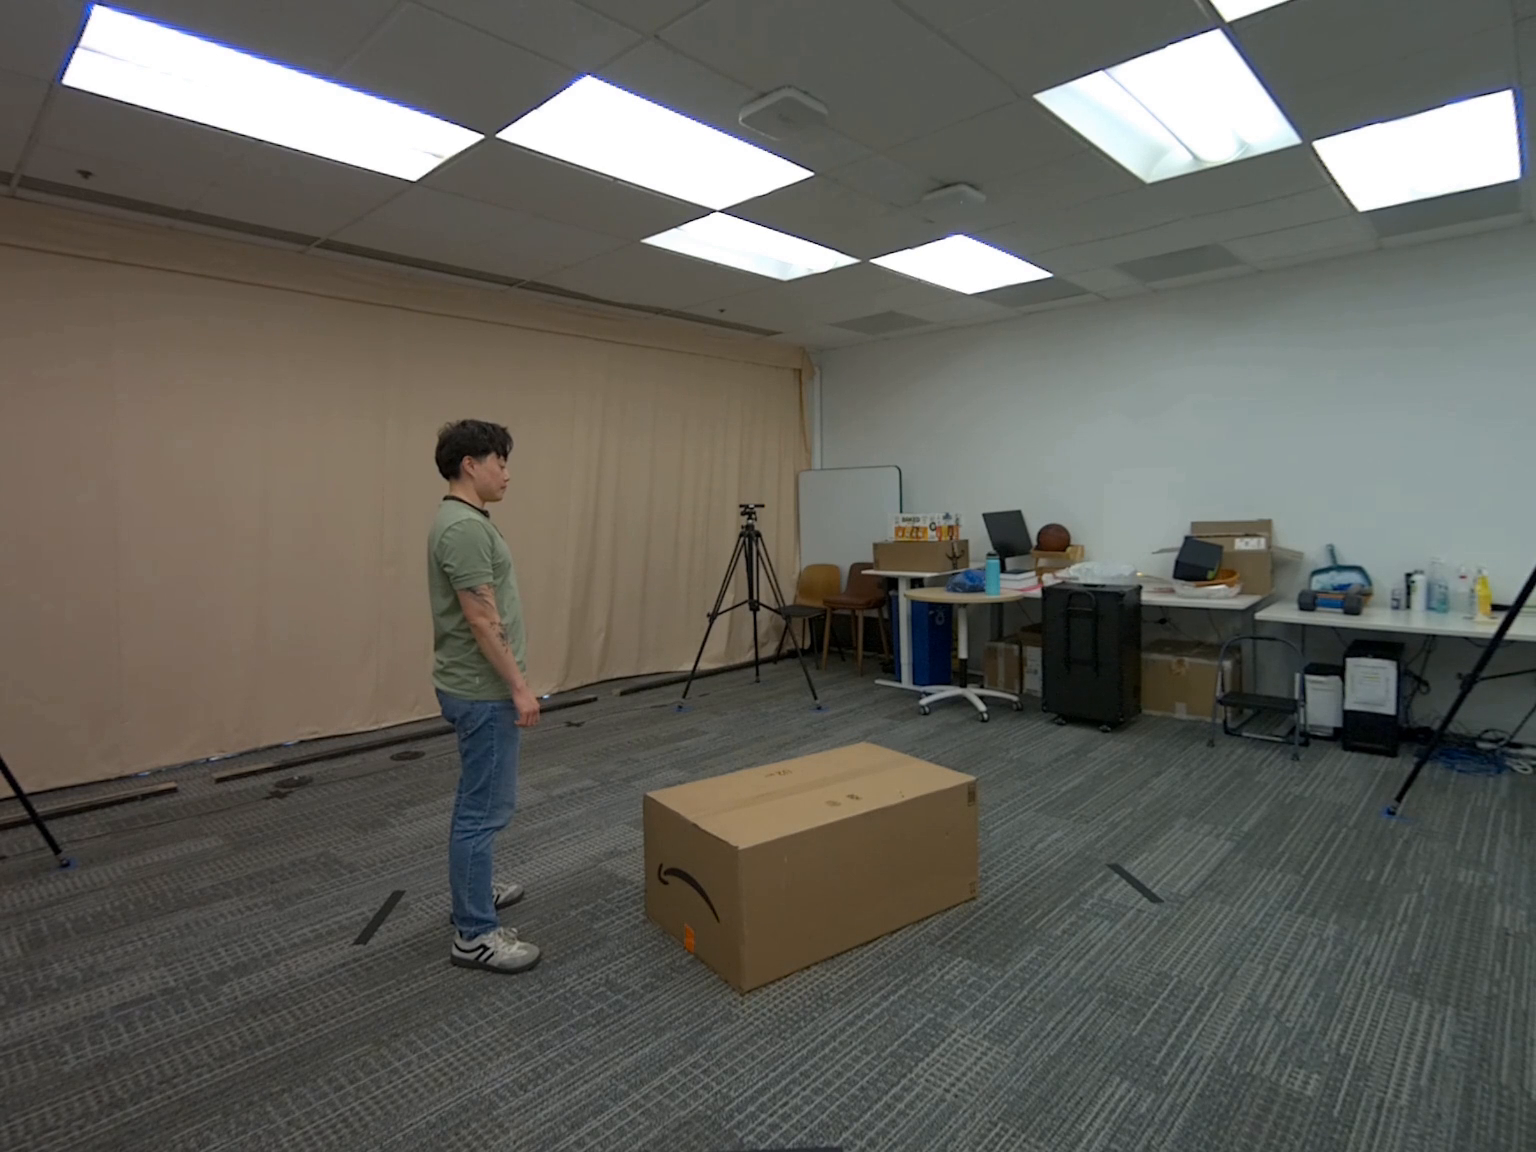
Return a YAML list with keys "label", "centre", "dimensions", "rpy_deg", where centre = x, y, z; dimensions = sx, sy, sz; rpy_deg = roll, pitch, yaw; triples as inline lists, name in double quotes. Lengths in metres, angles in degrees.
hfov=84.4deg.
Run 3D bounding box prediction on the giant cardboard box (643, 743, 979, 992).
- label: "giant cardboard box"
  centre: [0.161, 0.932, 2.897]
  dimensions: [0.996, 0.425, 0.596]
  rpy_deg: [-4, 5, -35]
